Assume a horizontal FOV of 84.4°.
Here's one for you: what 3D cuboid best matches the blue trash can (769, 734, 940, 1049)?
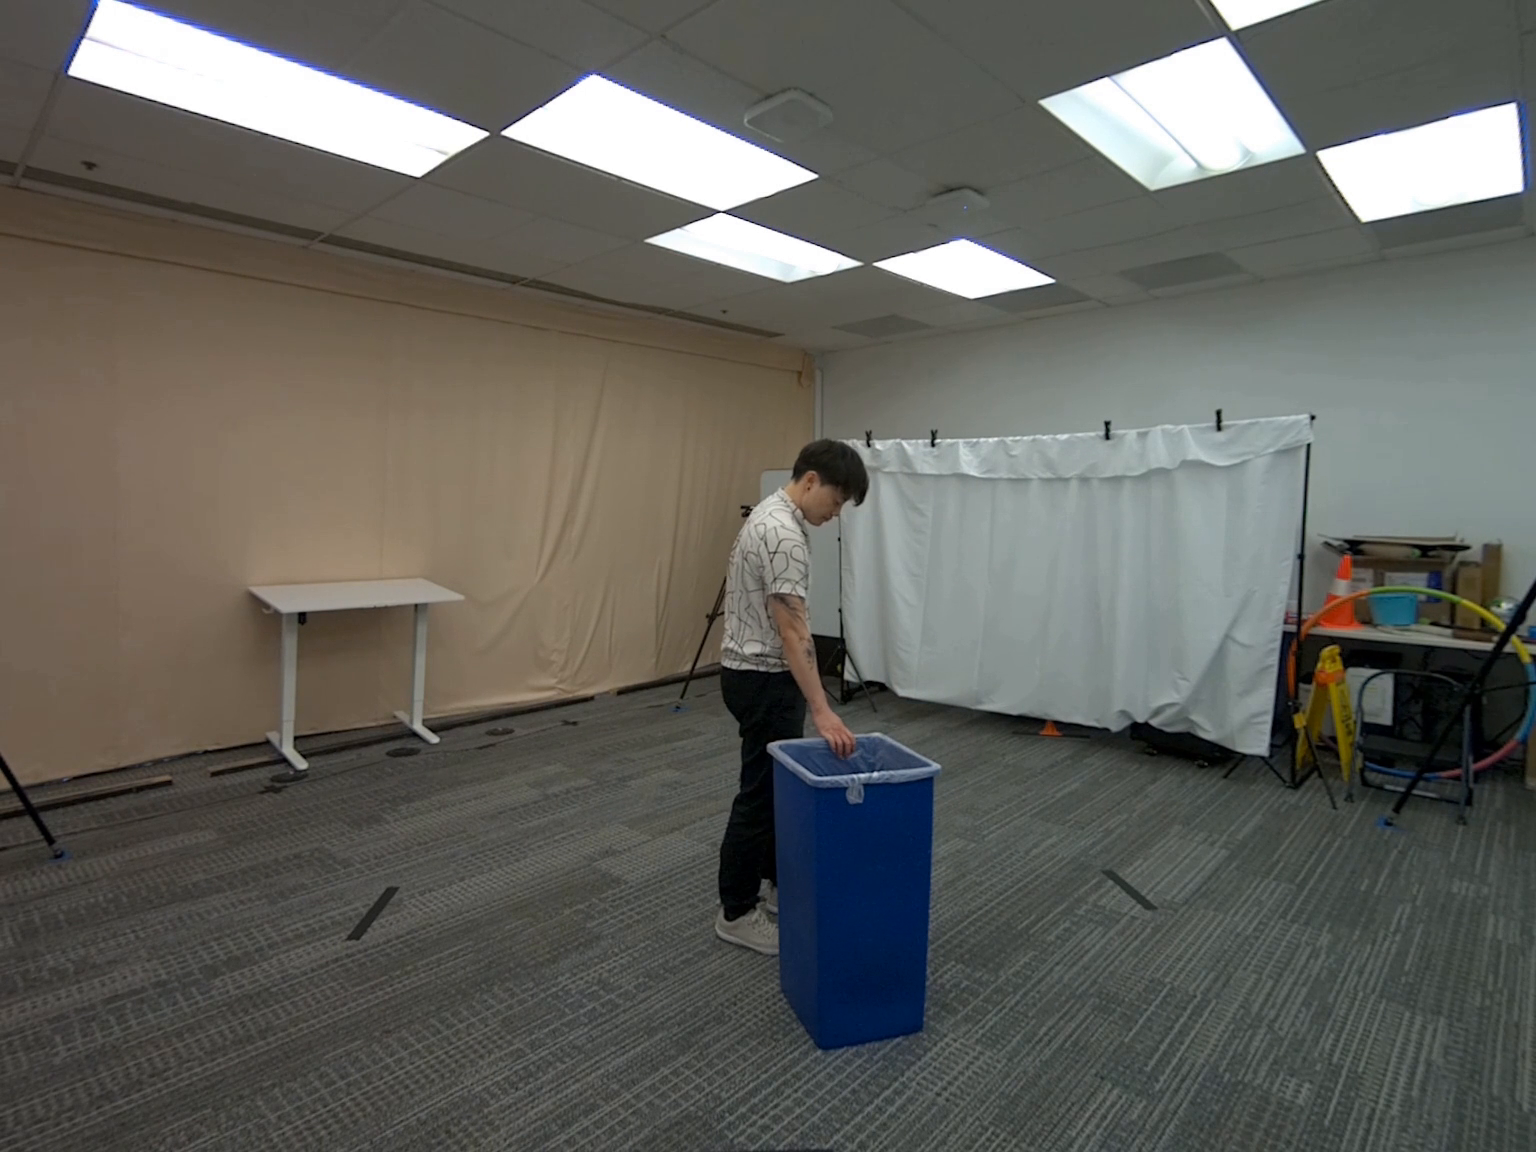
[{"bbox_3d":[0.227,0.842,2.318,0.371,0.712,0.381,-1,3,-18],"label":"blue trash can"}]
